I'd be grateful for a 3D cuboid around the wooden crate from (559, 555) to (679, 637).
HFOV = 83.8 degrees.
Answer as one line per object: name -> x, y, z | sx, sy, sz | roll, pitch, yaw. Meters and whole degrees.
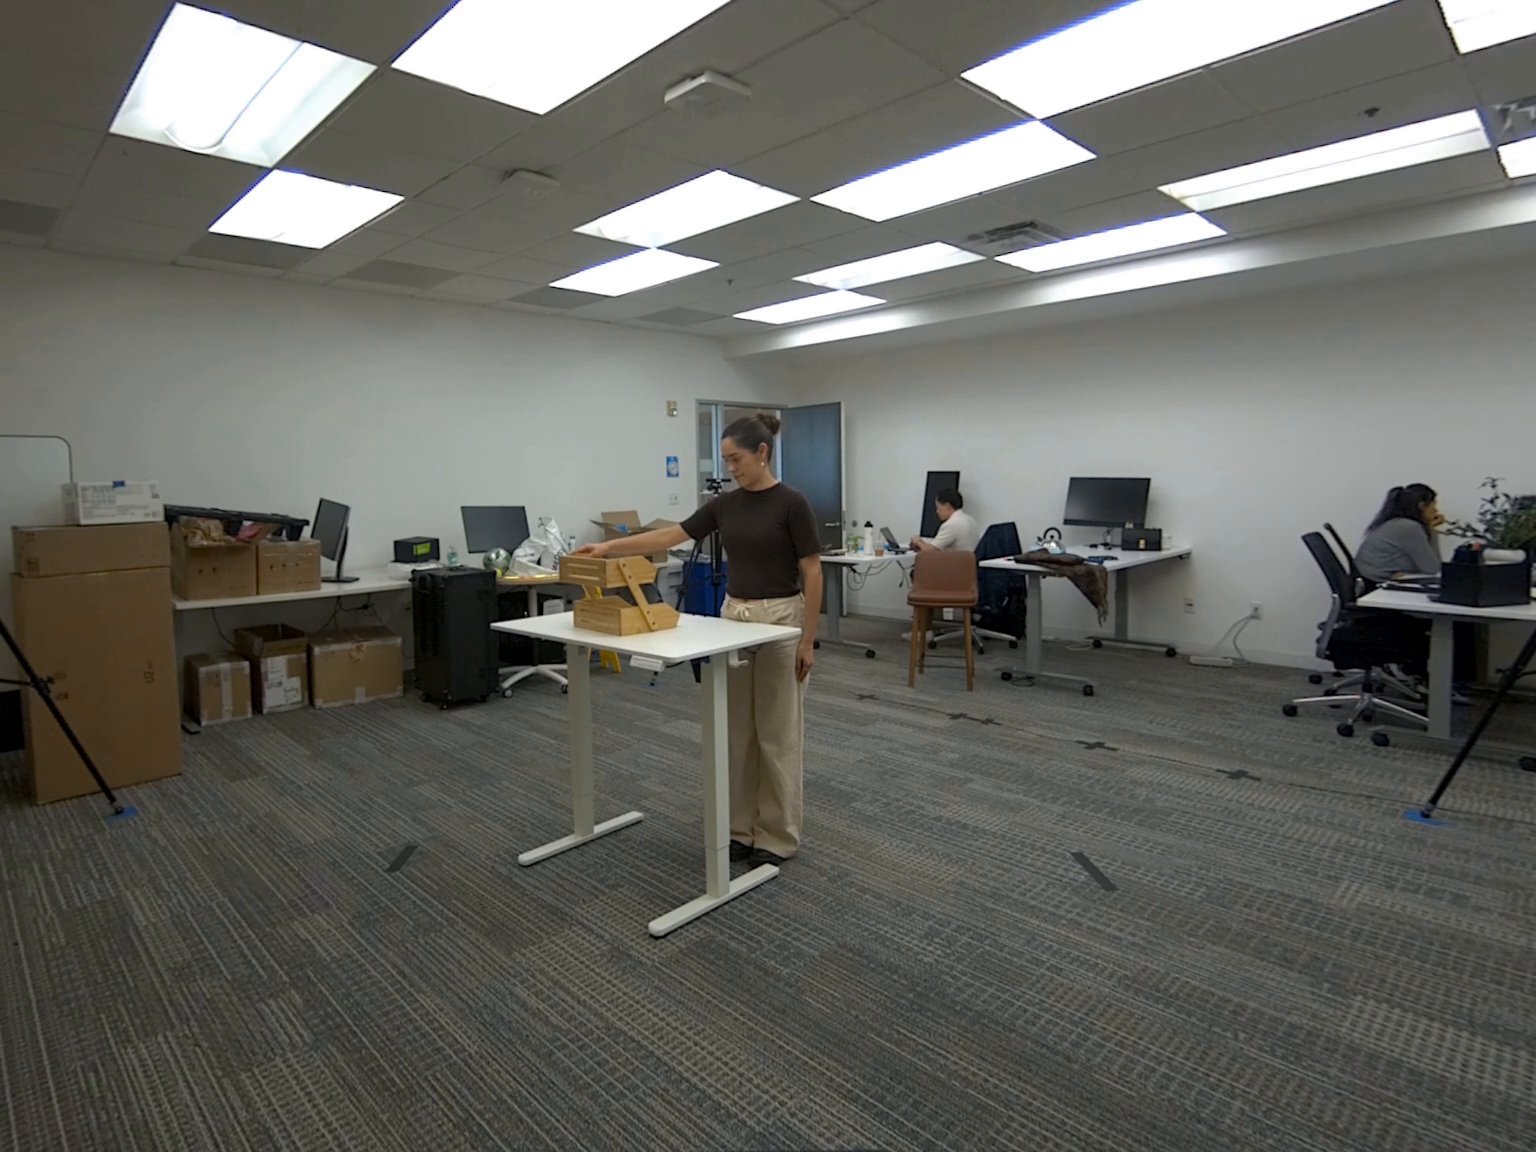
wooden crate -> -0.521, 0.052, 2.995 | 0.294, 0.272, 0.334 | -7, 8, -42
